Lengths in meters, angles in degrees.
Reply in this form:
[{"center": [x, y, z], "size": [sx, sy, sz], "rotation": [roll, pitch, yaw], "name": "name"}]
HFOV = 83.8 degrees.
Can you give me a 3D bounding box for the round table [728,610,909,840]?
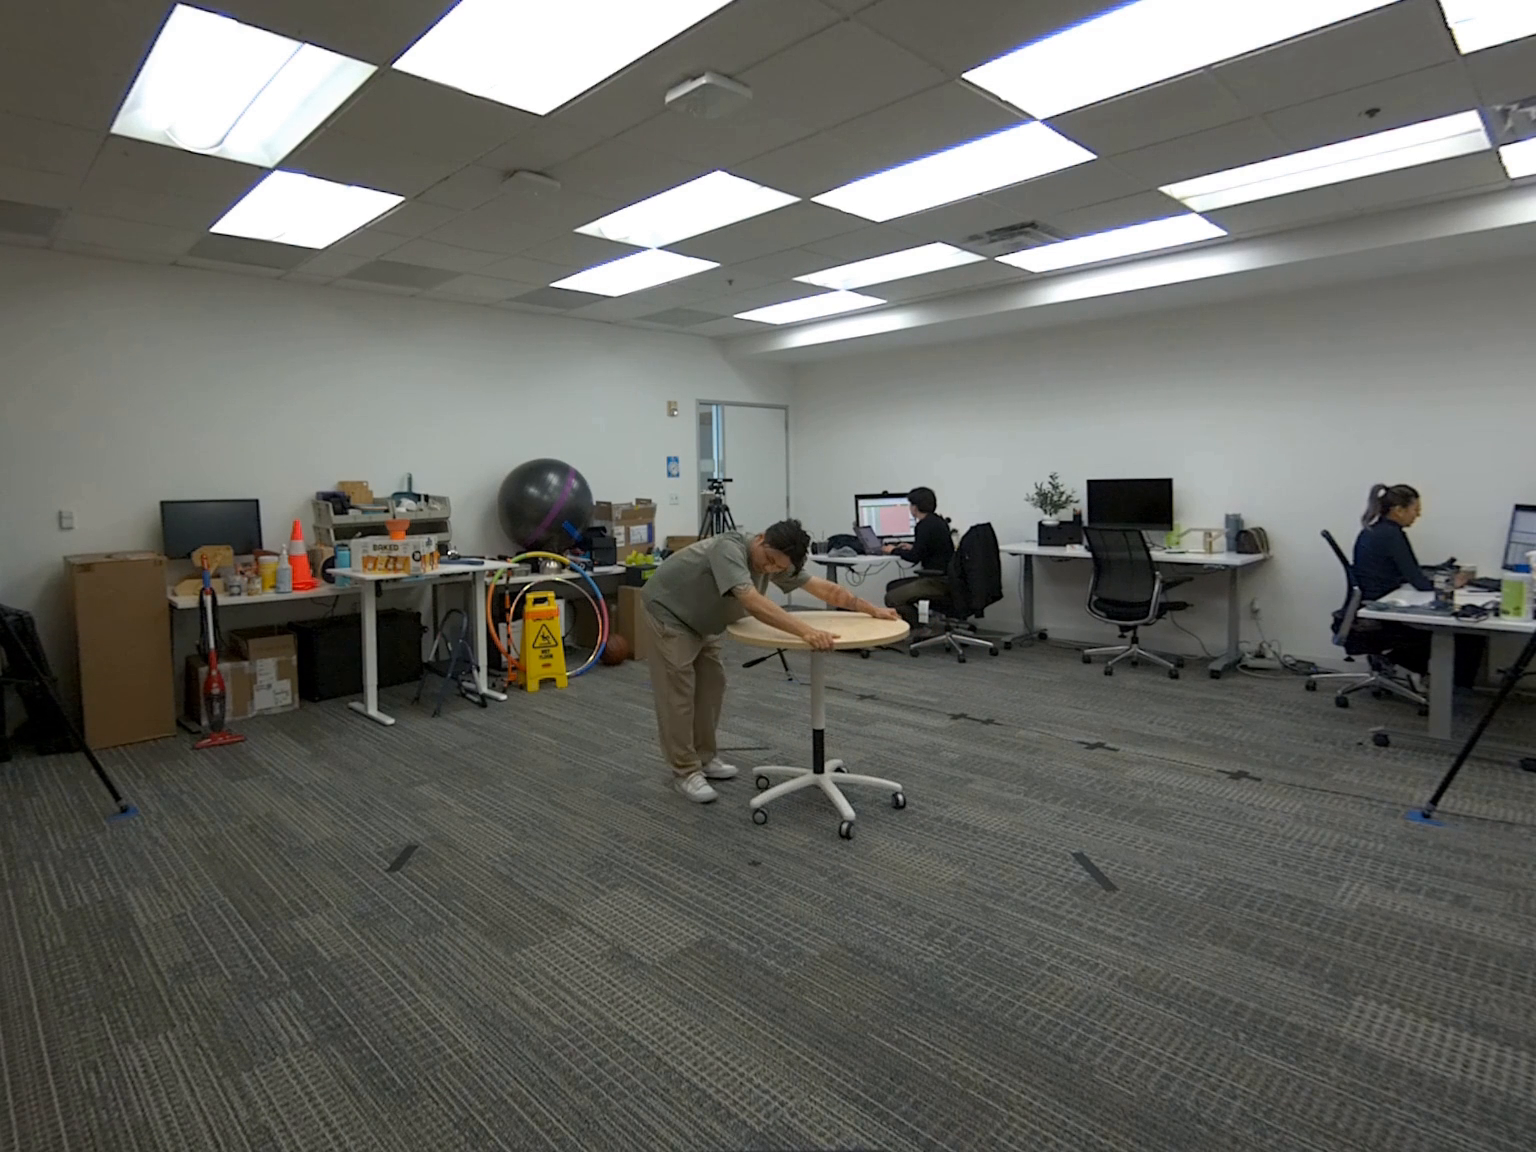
[{"center": [0.231, 0.593, 3.635], "size": [0.784, 0.784, 0.789], "rotation": [-1, 5, -2], "name": "round table"}]
